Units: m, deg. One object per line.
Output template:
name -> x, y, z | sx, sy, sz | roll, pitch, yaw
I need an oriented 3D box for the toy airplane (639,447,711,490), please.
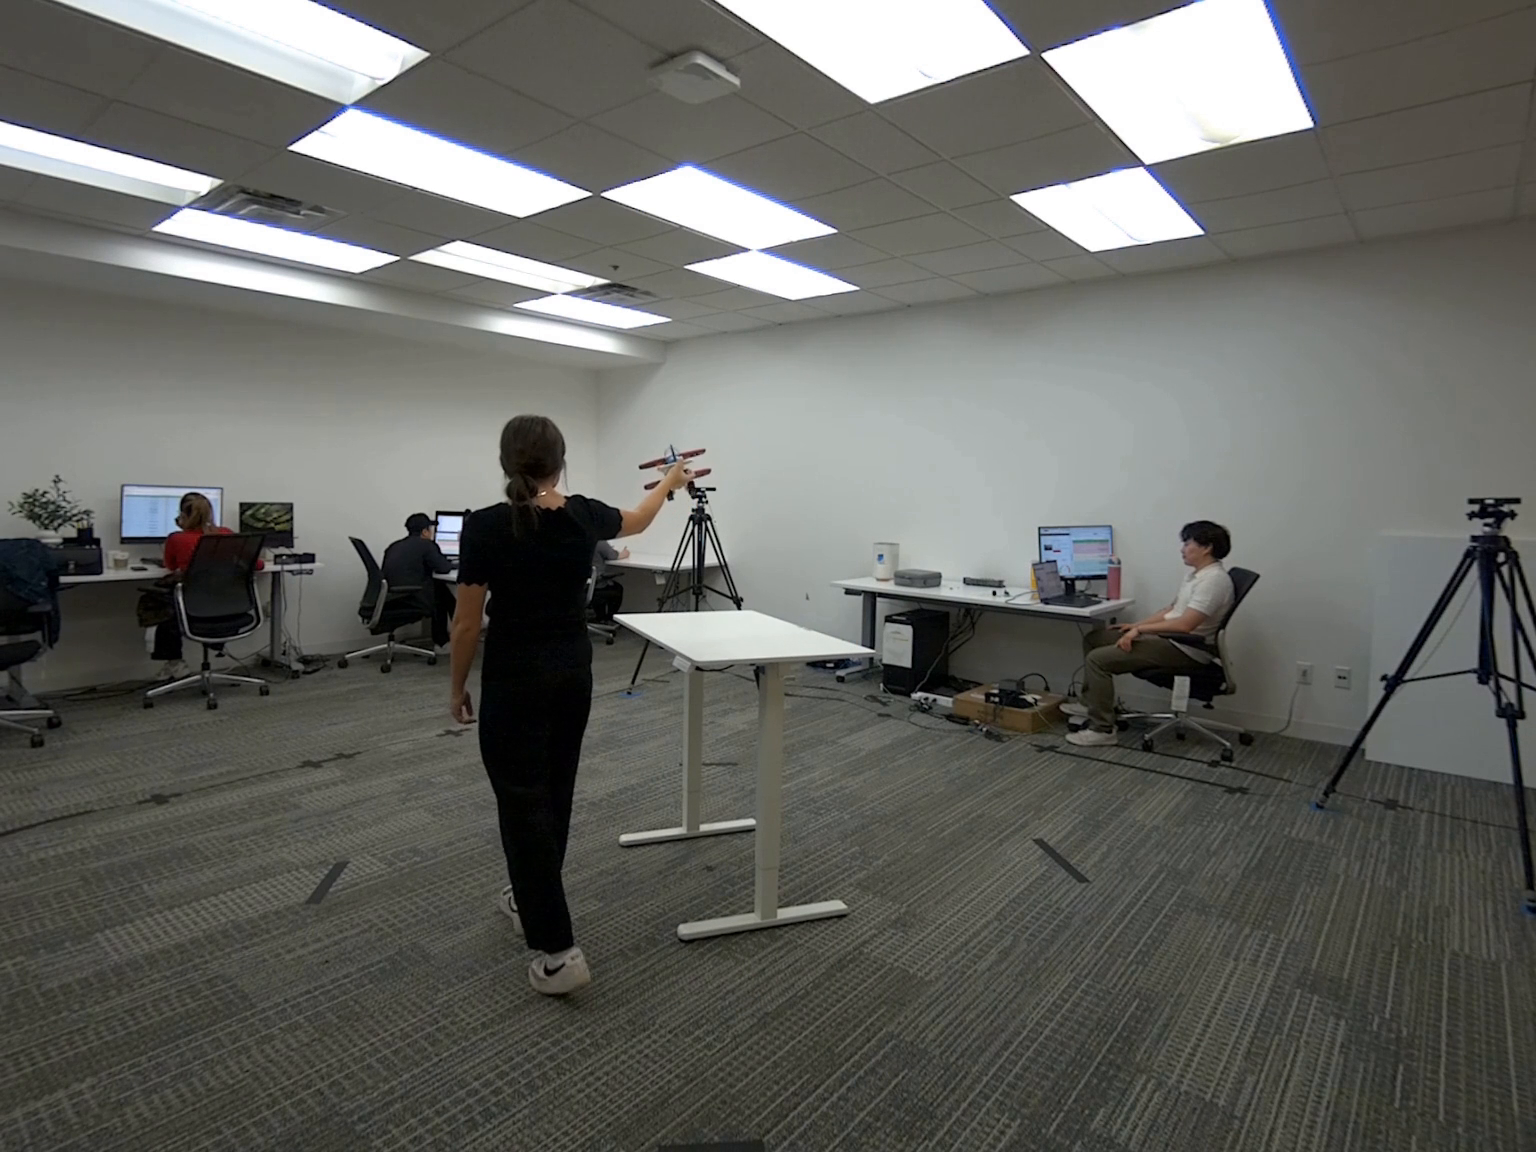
toy airplane -> -0.327, -0.392, 3.087 | 0.245, 0.159, 0.261 | -8, -17, -32
